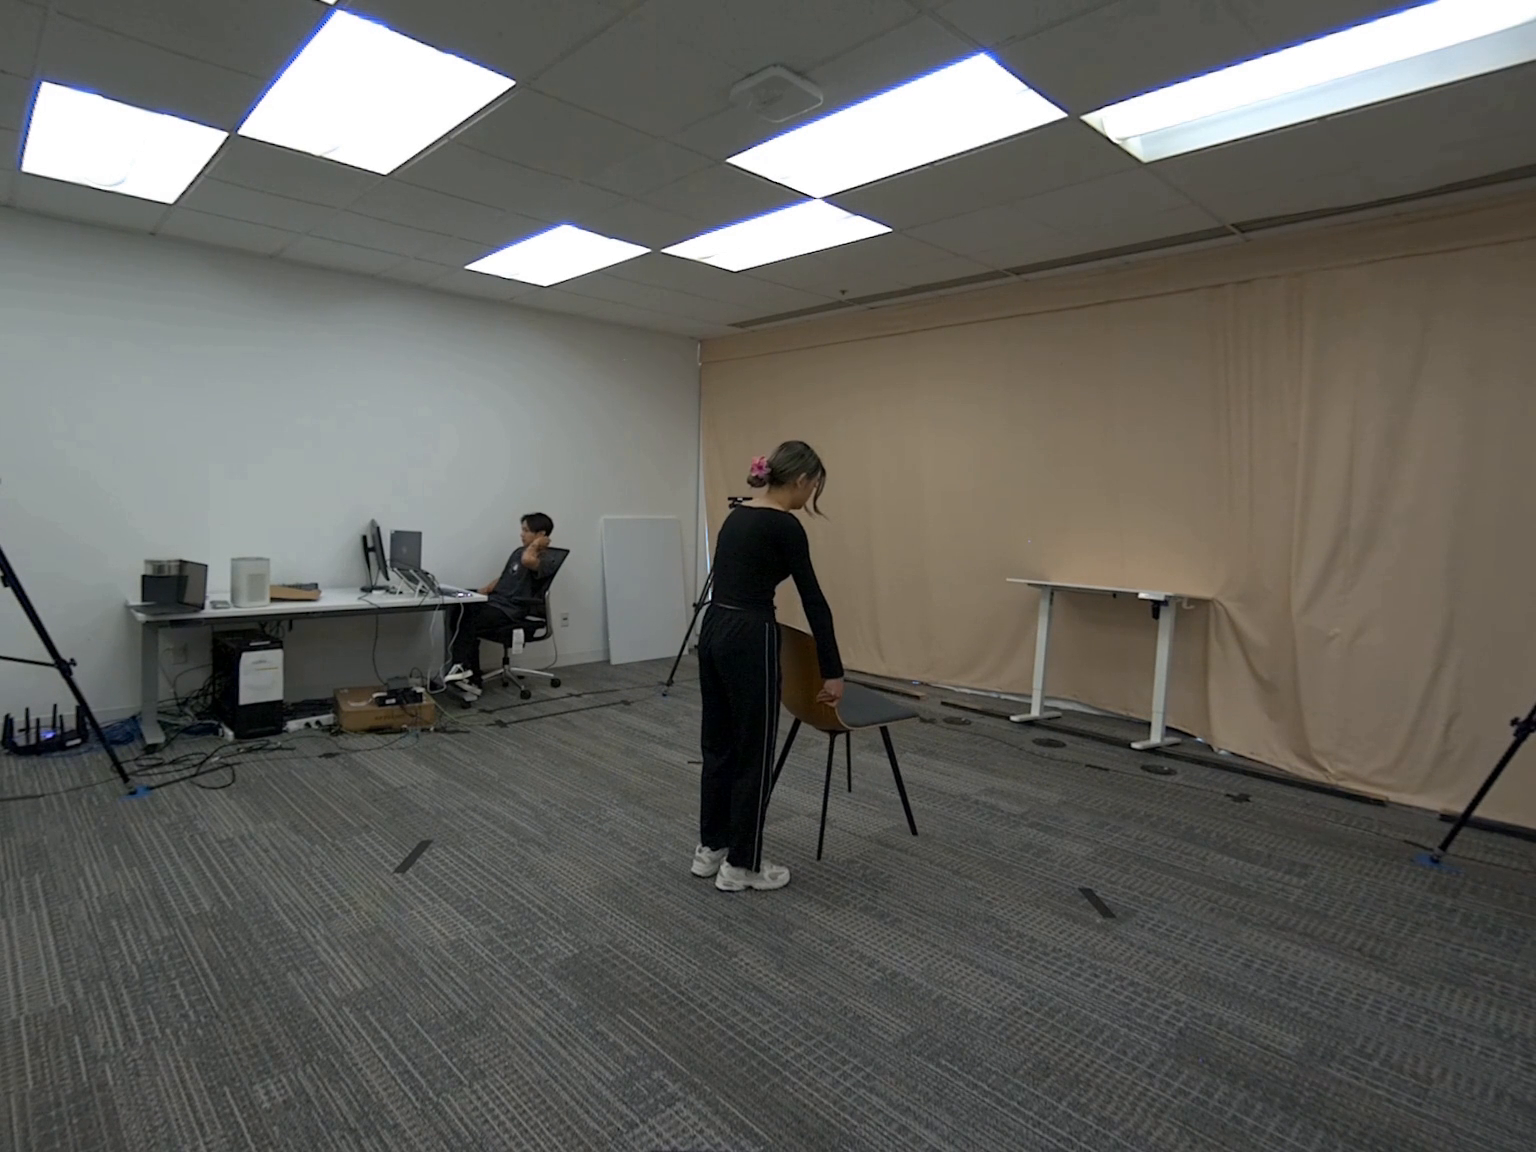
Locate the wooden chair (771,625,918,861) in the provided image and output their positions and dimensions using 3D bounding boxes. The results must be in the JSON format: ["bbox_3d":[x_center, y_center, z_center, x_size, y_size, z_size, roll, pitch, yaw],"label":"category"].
[{"bbox_3d":[0.274,0.563,3.267,0.515,0.871,0.489,-8,11,-26],"label":"wooden chair"}]
